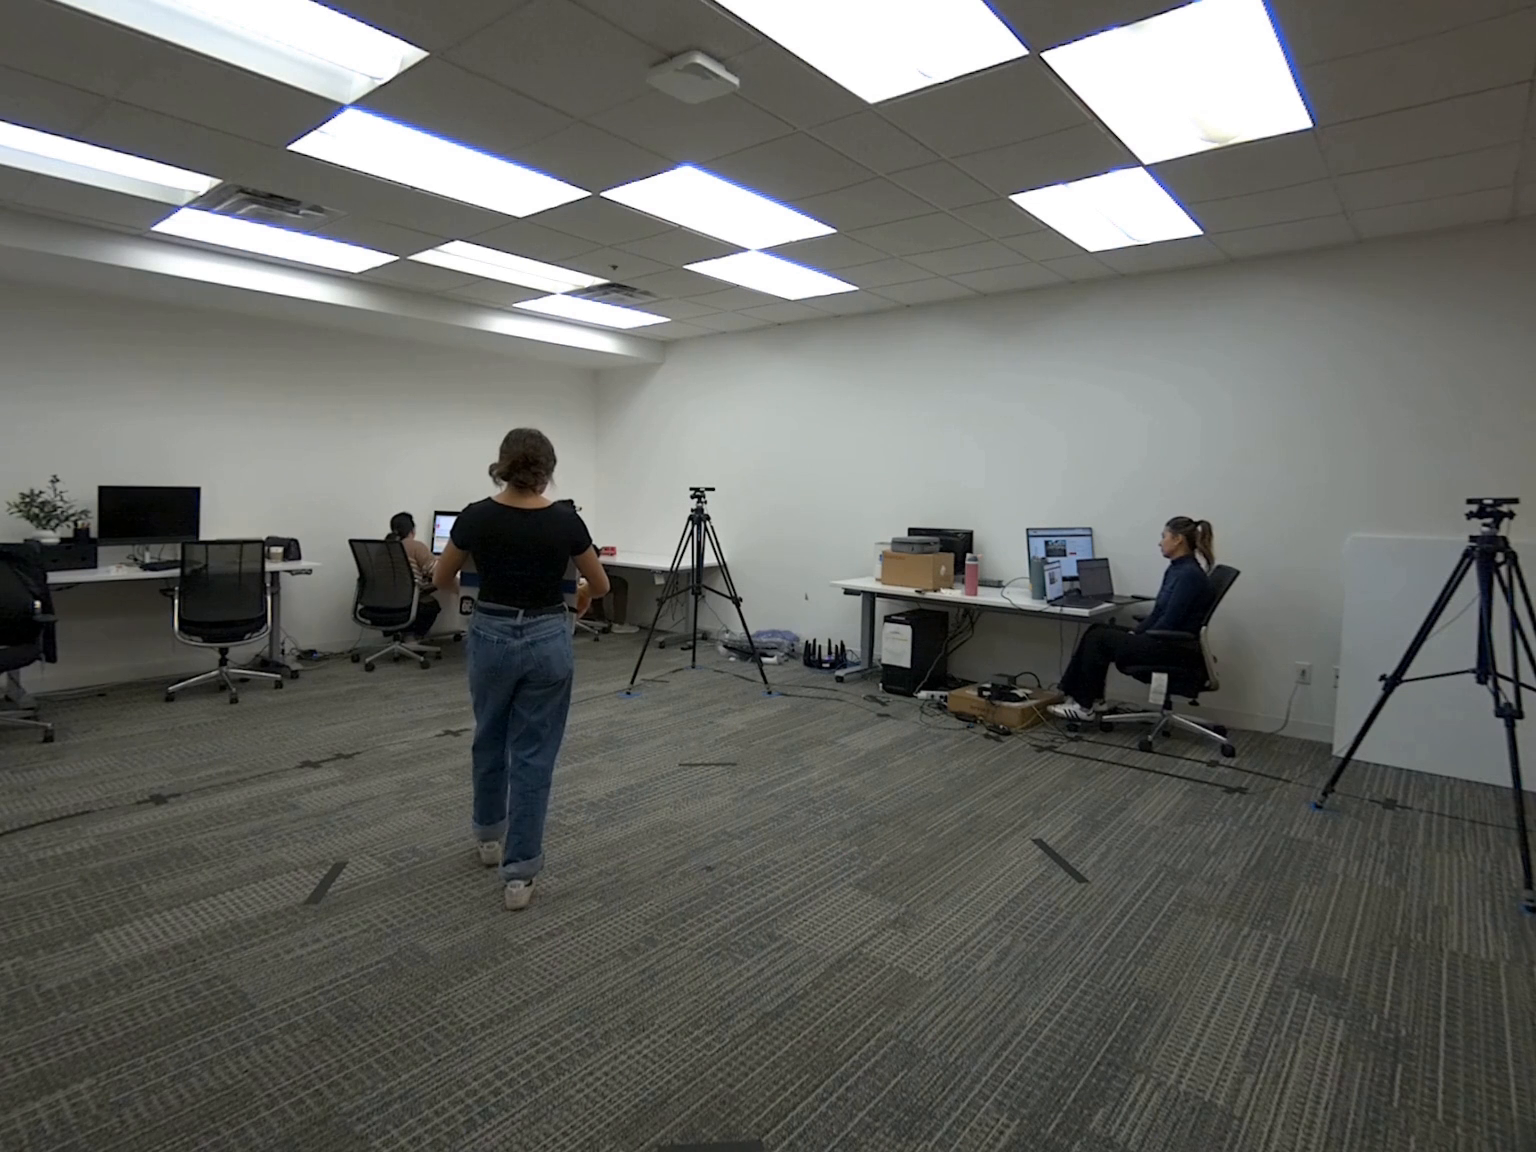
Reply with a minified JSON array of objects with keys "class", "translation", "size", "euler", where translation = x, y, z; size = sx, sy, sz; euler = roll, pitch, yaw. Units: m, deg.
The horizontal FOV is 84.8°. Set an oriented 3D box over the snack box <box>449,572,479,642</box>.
[{"class":"snack box","translation":[-0.894,0.006,3.062],"size":[0.403,0.338,0.208],"euler":[4,9,-6]}]
